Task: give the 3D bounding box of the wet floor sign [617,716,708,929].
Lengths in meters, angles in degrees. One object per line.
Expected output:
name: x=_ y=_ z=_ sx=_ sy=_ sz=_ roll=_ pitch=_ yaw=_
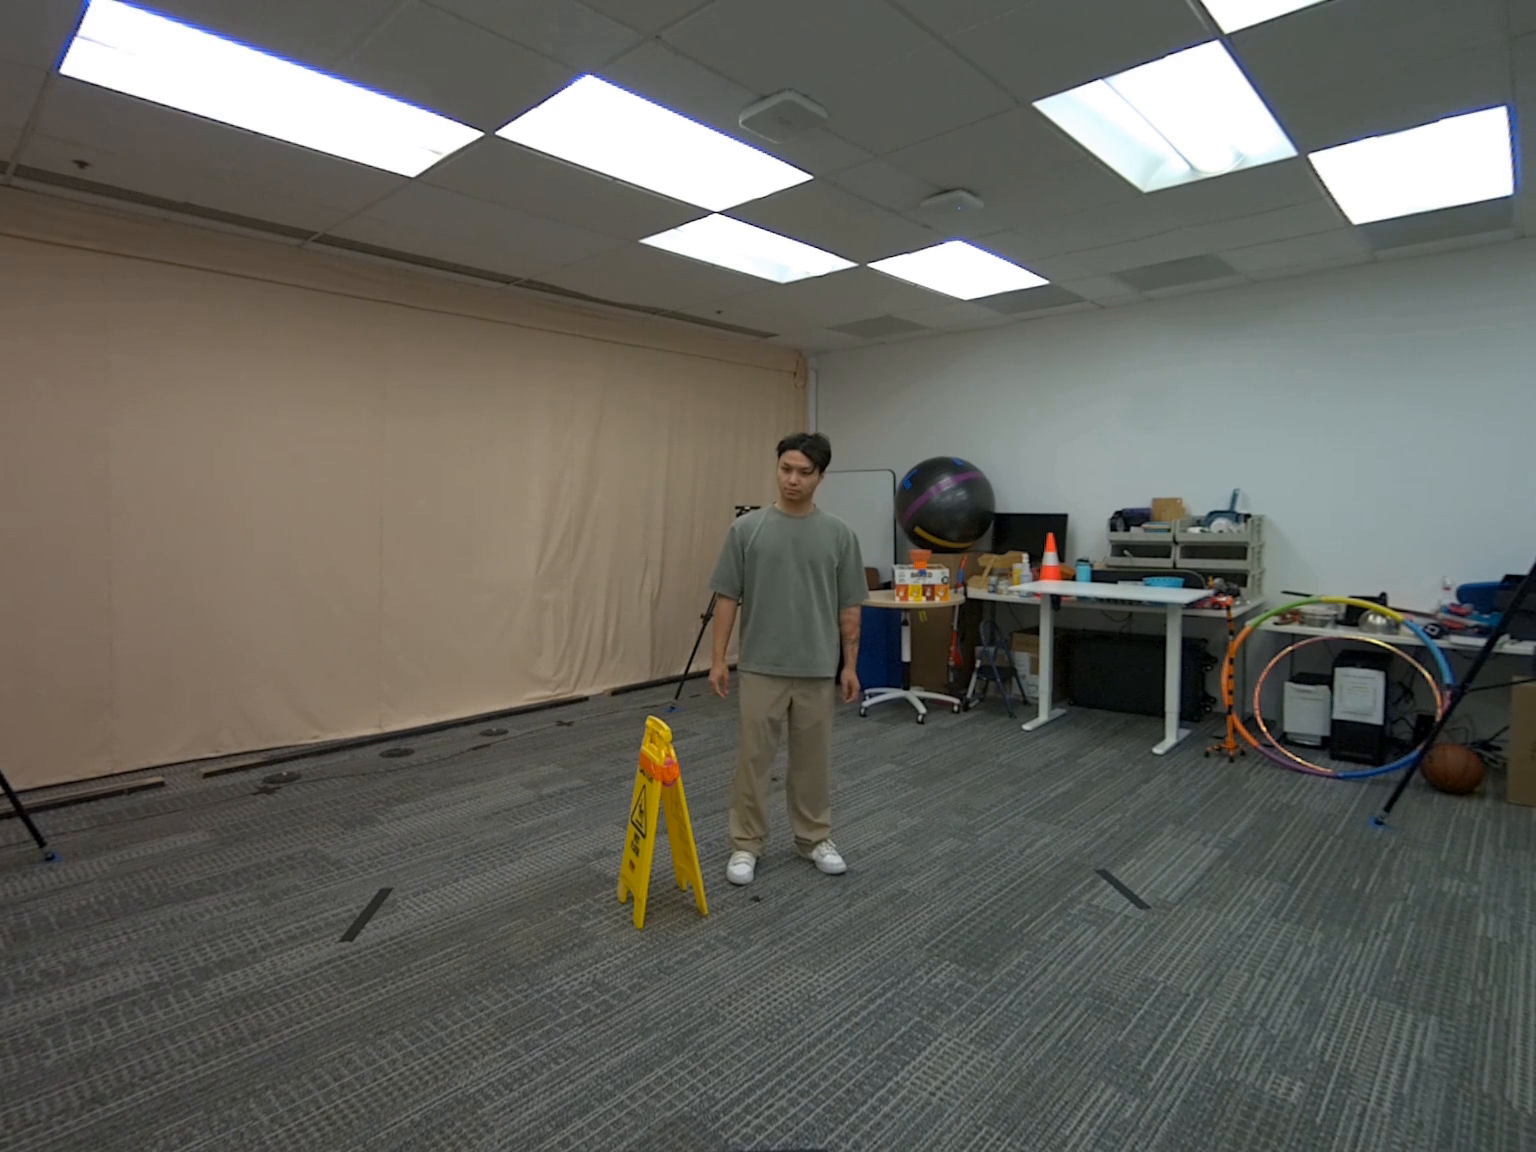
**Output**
wet floor sign: x=-0.373 y=0.824 z=2.920 sx=0.283 sy=0.645 sz=0.289 roll=-1 pitch=4 yaw=-24
